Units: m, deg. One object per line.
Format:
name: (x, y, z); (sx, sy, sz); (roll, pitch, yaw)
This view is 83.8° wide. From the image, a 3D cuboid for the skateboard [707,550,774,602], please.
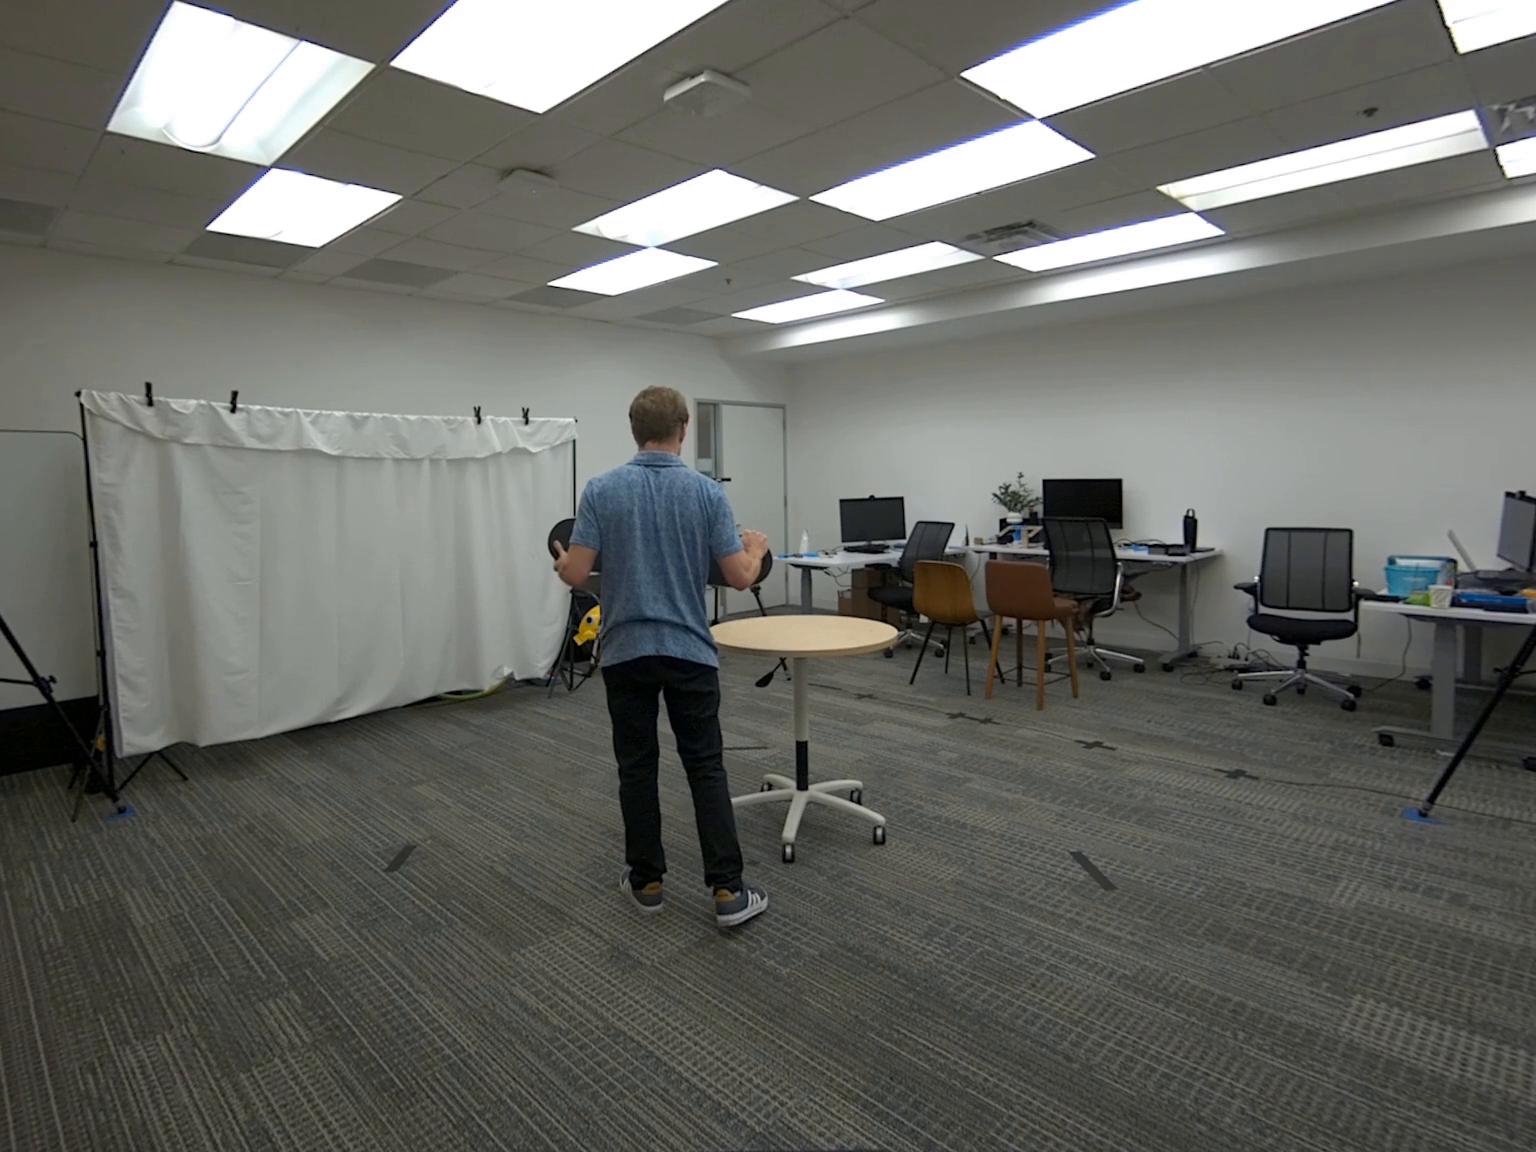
skateboard: (-0.357, -0.084, 3.016); (0.787, 0.195, 0.109); (7, -12, 2)
